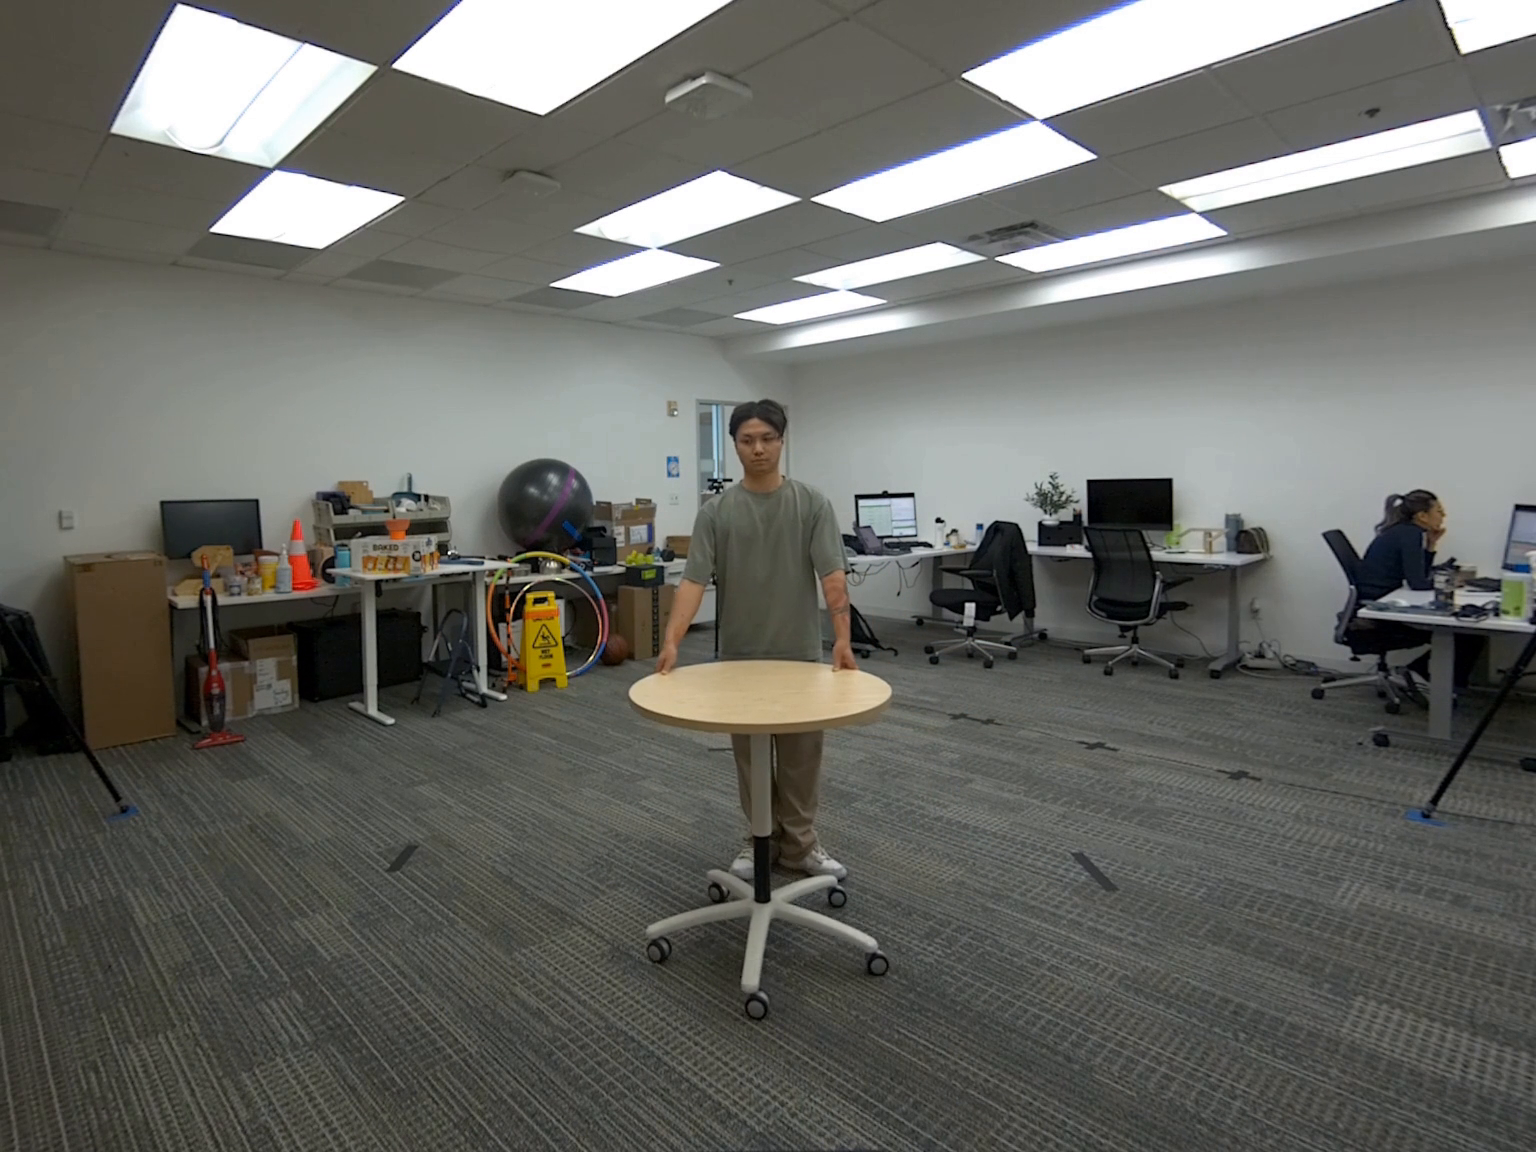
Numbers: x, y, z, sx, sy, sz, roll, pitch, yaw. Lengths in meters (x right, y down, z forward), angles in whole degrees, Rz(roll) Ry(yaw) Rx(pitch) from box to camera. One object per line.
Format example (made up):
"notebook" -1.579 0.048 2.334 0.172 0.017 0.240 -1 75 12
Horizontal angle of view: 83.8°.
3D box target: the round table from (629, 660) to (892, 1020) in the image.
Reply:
"round table" -0.018 0.723 2.523 0.784 0.783 0.789 -1 5 -2
